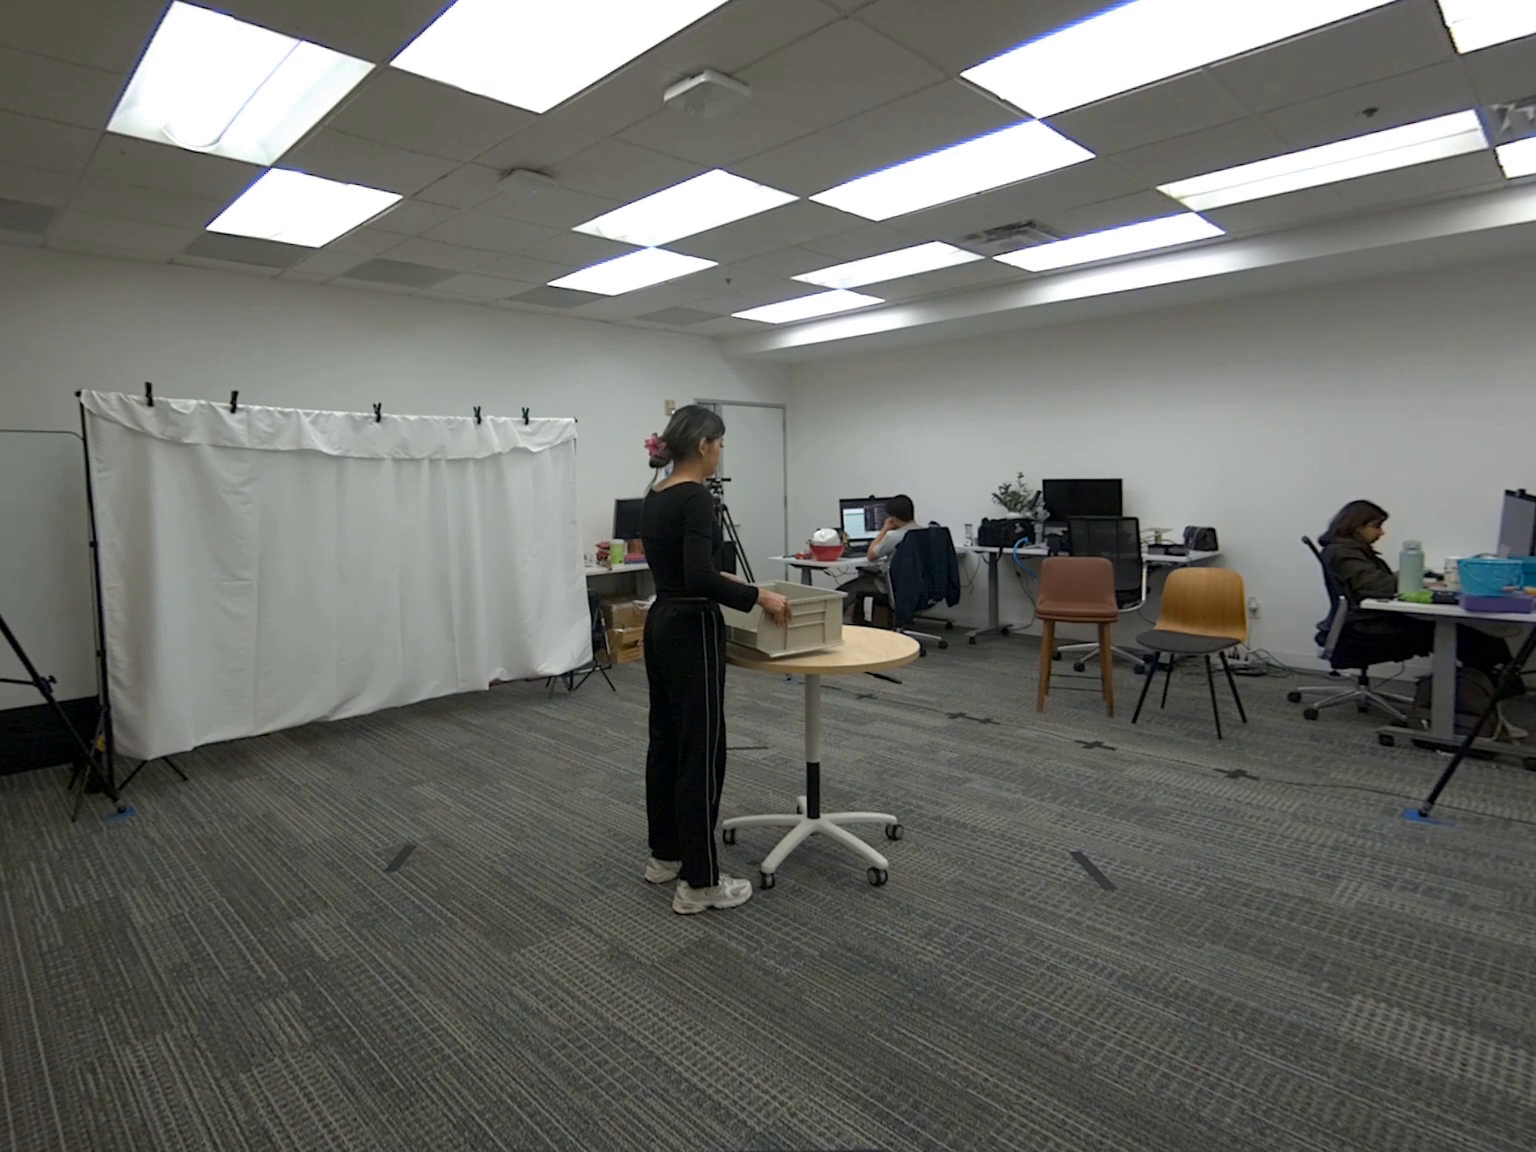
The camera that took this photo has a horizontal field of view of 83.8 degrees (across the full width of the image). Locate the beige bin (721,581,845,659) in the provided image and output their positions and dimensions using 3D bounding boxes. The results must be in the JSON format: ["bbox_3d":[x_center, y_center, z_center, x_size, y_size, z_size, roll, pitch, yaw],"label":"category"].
[{"bbox_3d":[0.000,0.141,3.019,0.368,0.188,0.434,-4,6,-33],"label":"beige bin"}]
